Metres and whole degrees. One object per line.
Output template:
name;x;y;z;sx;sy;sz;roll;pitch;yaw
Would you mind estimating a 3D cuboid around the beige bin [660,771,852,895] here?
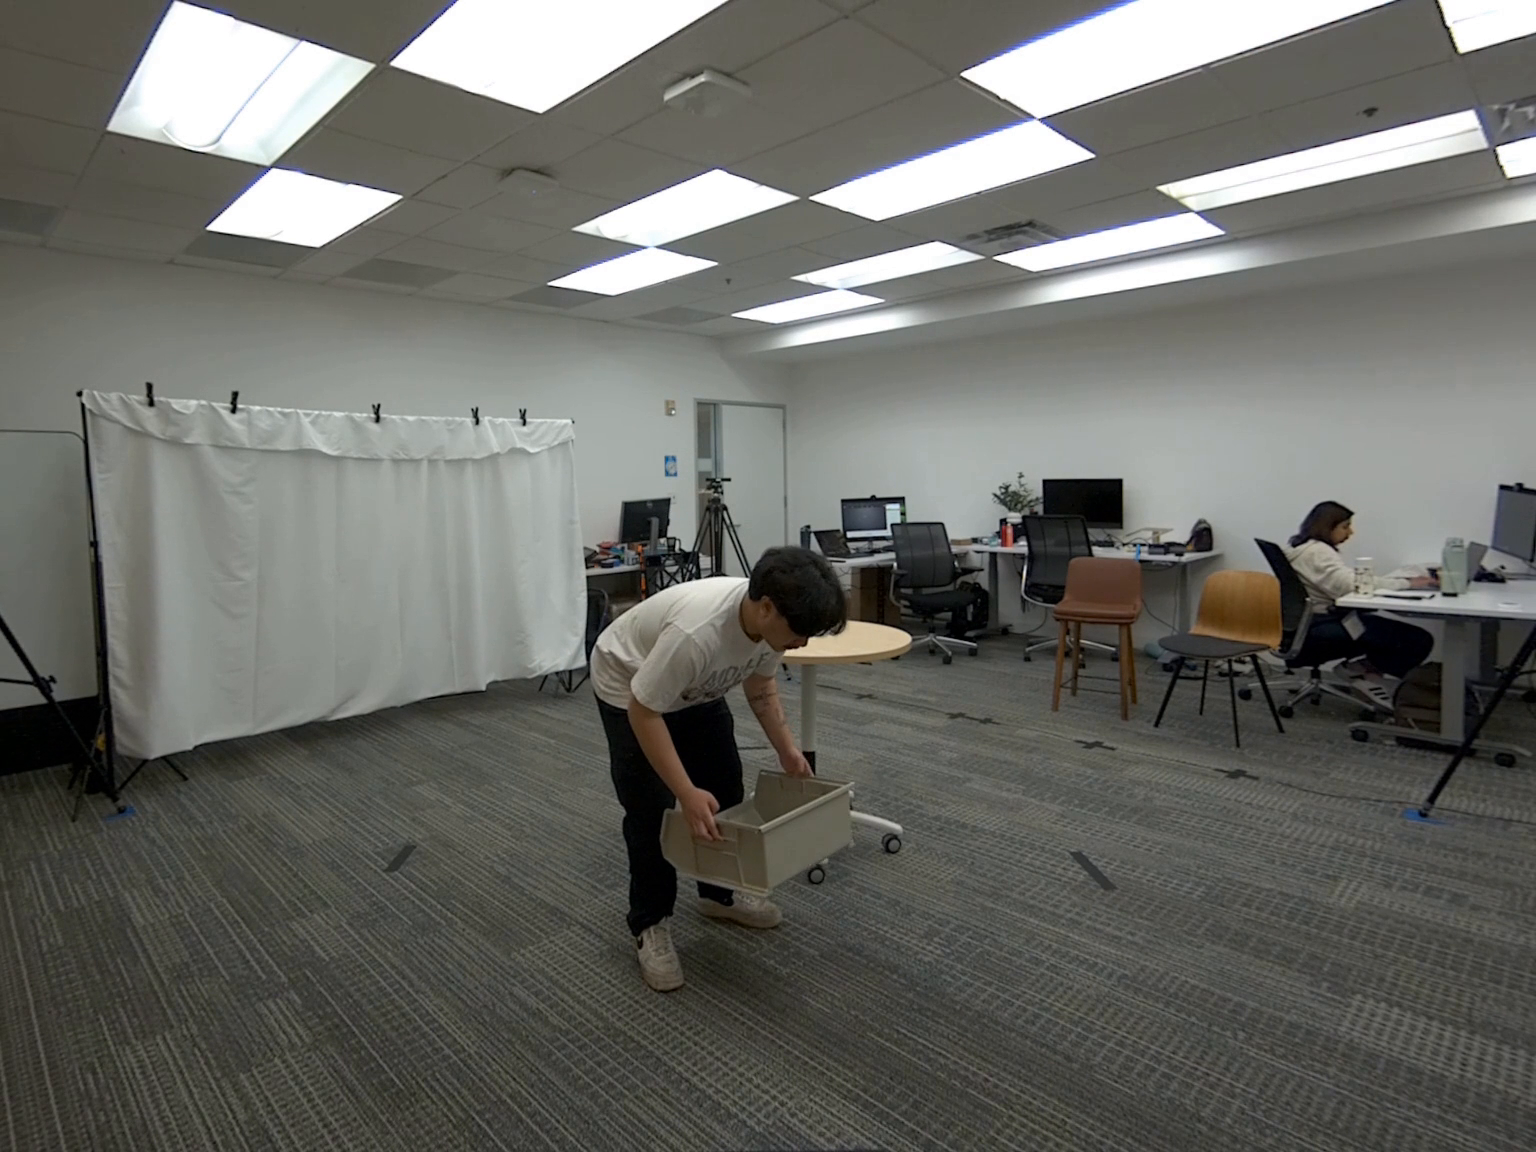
beige bin;-0.025;0.704;2.393;0.388;0.188;0.411;0;5;41
